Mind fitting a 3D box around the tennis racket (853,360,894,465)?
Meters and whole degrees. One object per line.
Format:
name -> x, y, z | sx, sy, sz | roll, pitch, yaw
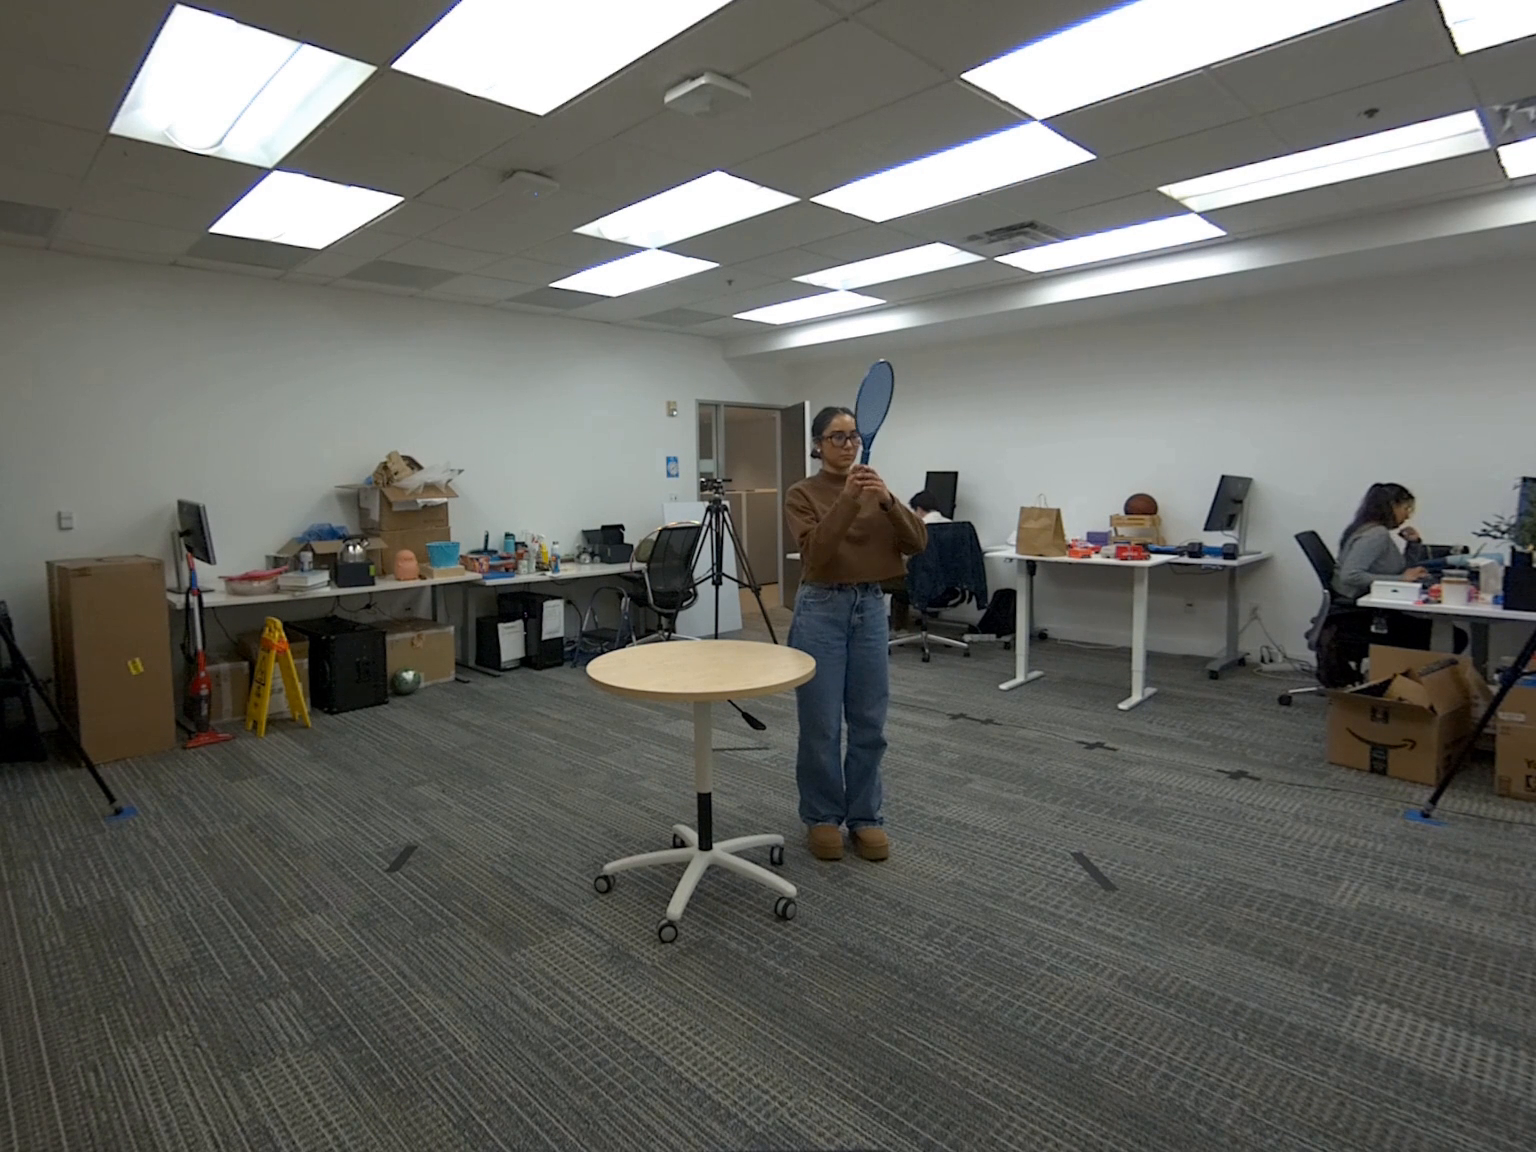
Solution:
tennis racket -> 0.344, -0.510, 2.868 | 0.033, 0.424, 0.210 | 27, 35, 32
